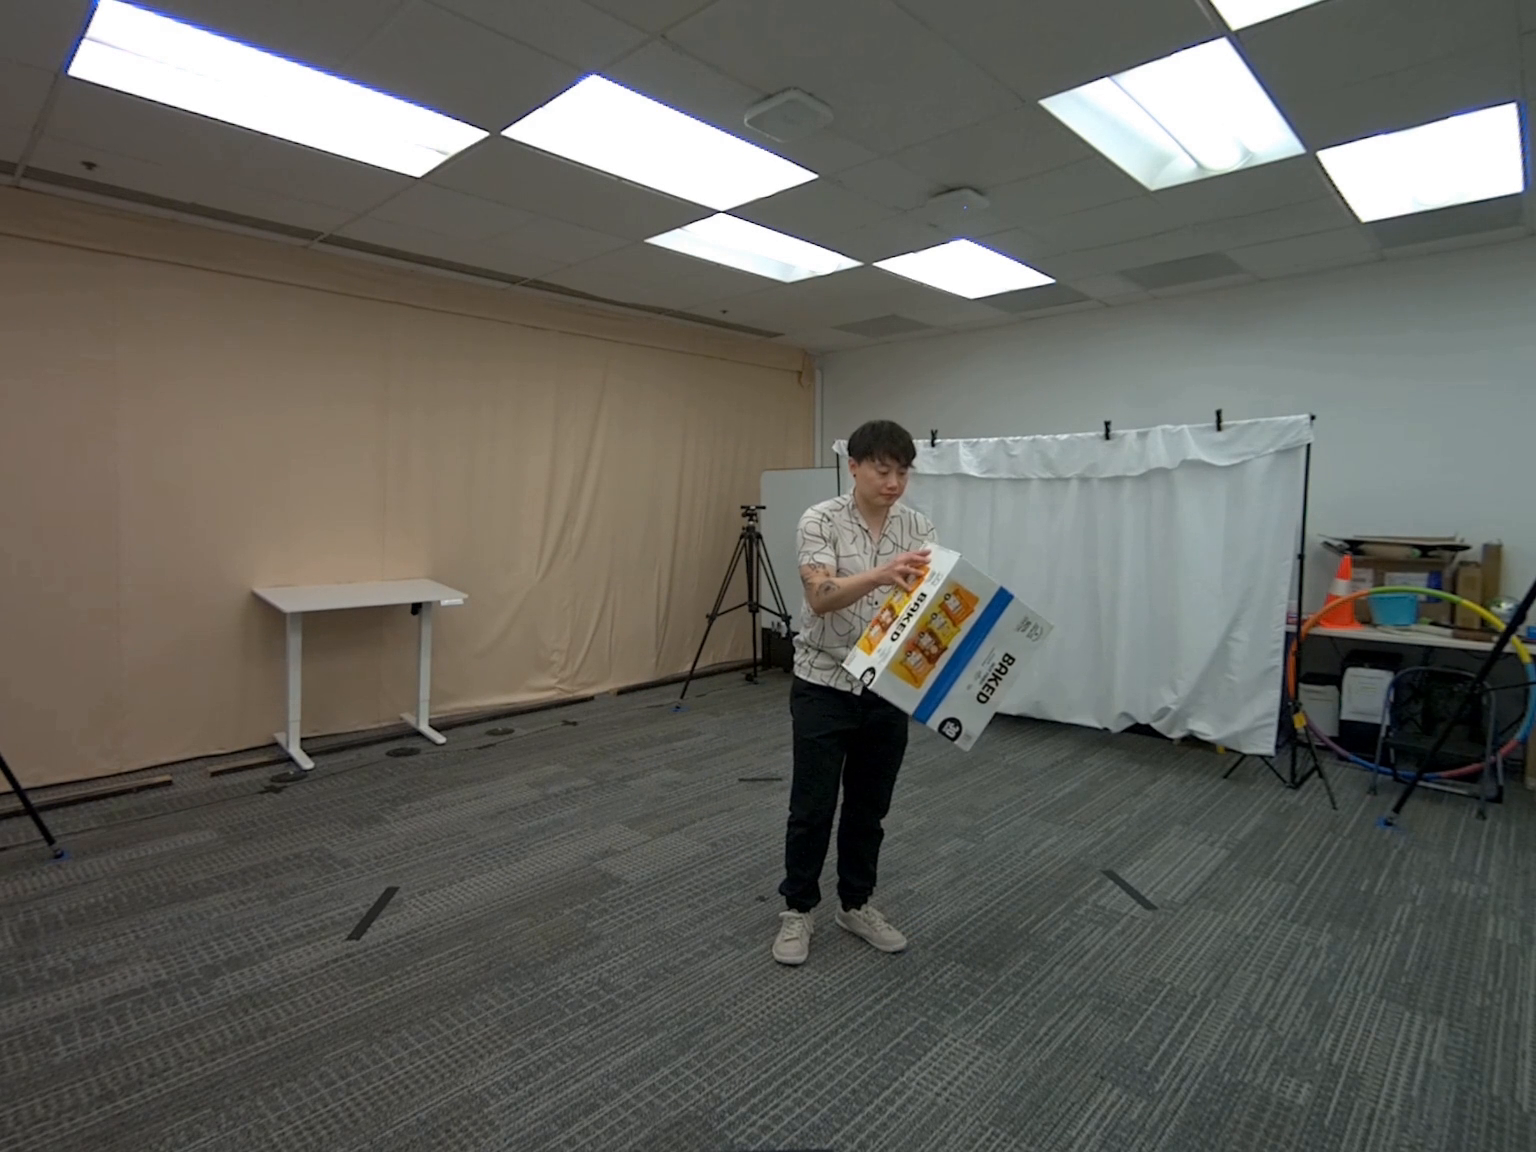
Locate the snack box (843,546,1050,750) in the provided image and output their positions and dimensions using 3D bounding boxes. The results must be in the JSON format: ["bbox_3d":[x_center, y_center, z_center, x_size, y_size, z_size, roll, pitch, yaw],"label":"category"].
[{"bbox_3d":[0.471,0.190,2.219,0.334,0.405,0.210,33,2,-17],"label":"snack box"}]
